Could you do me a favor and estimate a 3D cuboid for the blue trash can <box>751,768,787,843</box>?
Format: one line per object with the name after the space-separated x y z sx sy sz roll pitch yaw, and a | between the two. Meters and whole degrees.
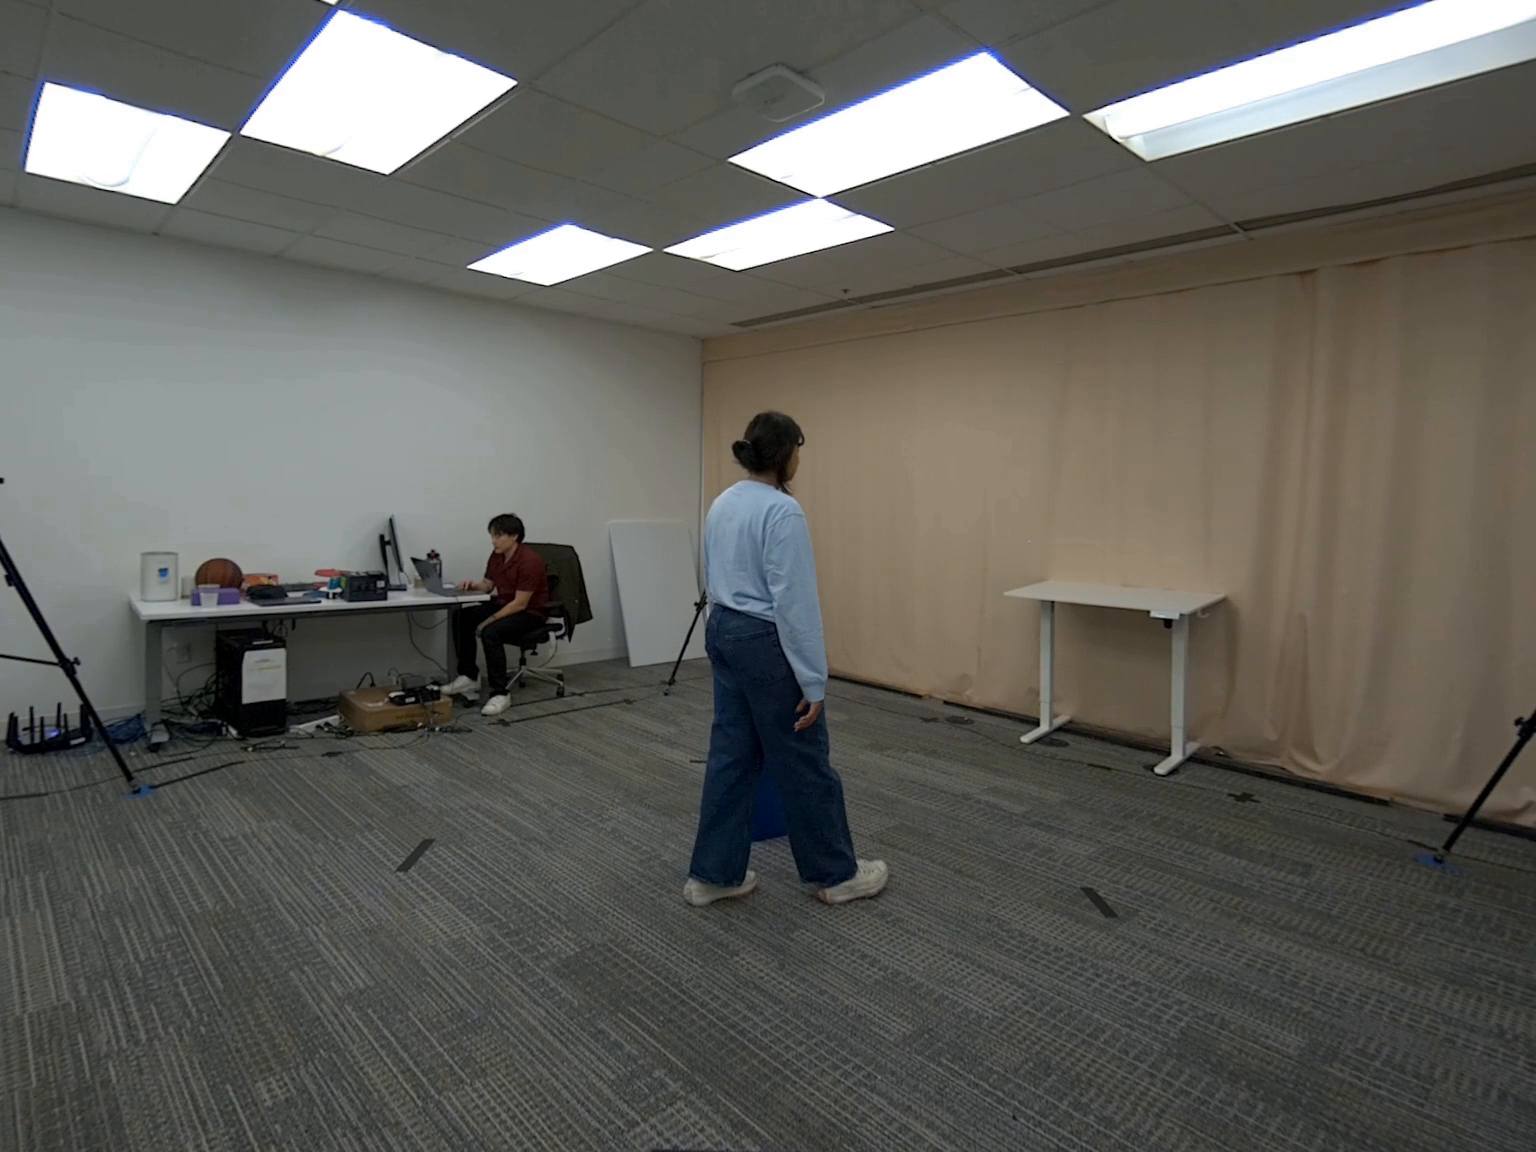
-0.026 0.712 3.584 0.366 0.712 0.387 0 3 -32 | blue trash can
